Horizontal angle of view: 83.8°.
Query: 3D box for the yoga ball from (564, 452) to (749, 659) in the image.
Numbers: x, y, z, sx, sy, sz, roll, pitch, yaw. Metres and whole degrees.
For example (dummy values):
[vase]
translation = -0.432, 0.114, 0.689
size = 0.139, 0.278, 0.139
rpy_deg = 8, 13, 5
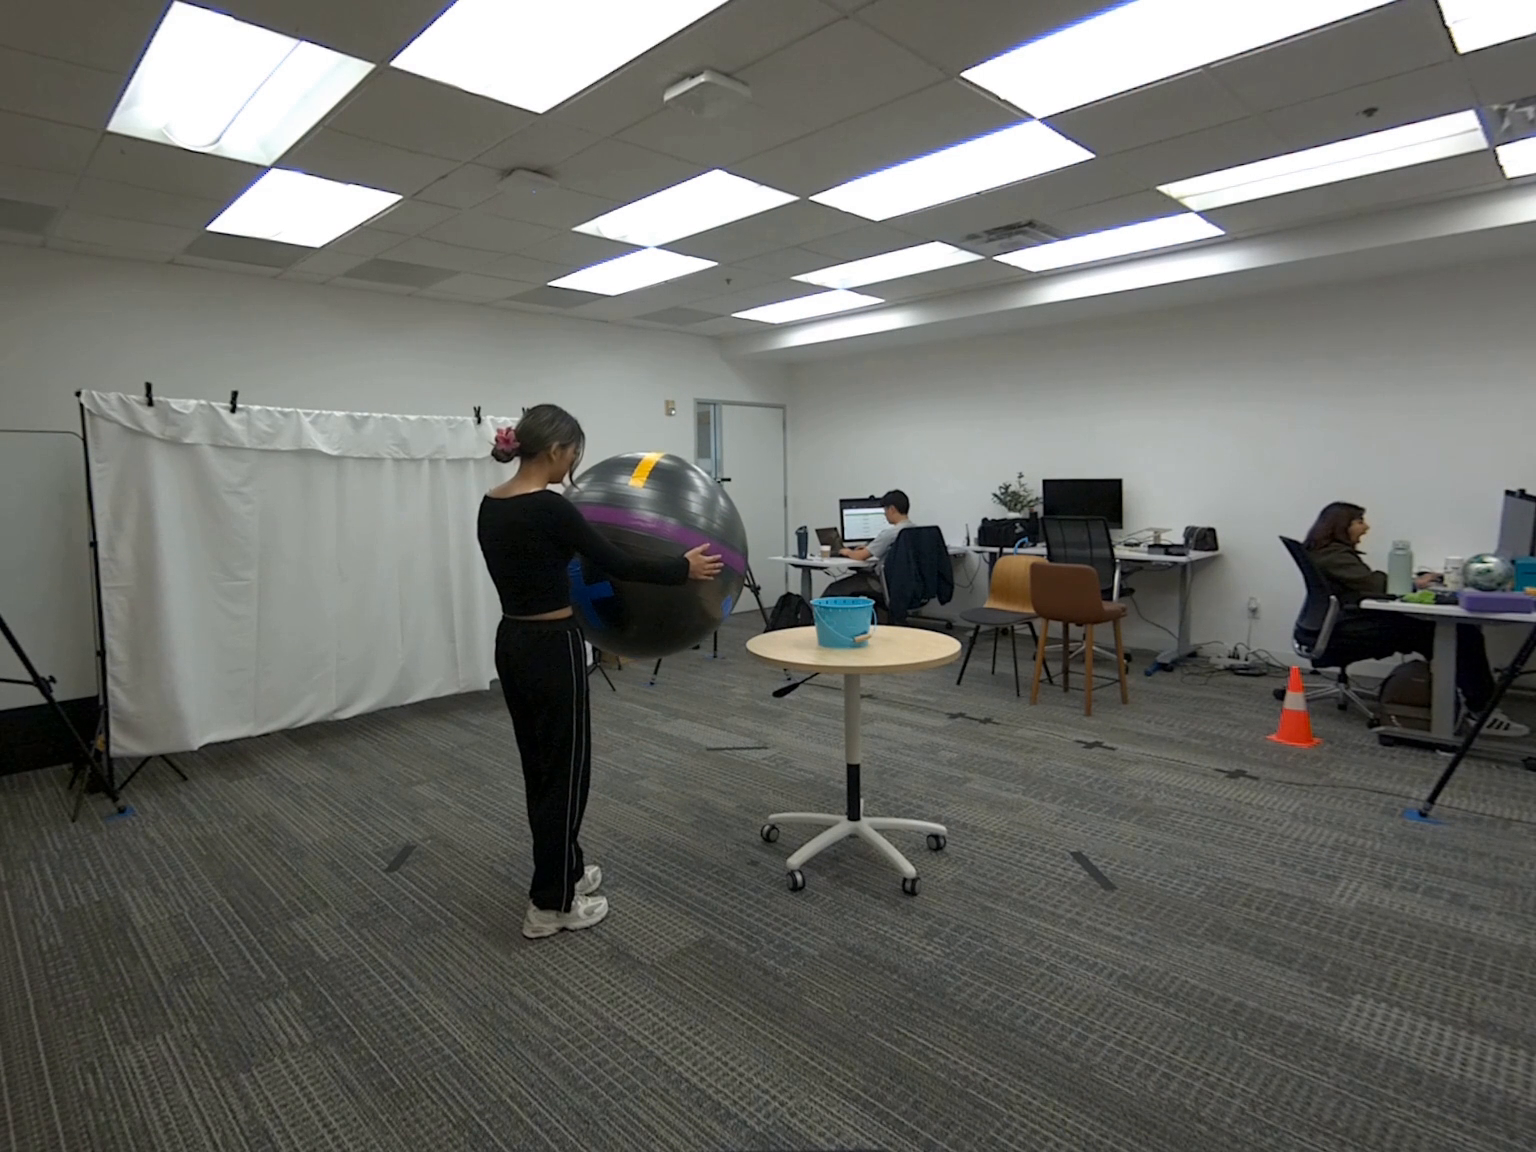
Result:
[yoga ball]
translation = -0.457, -0.069, 3.161
size = 0.757, 0.755, 0.762
rpy_deg = -1, 5, -2
